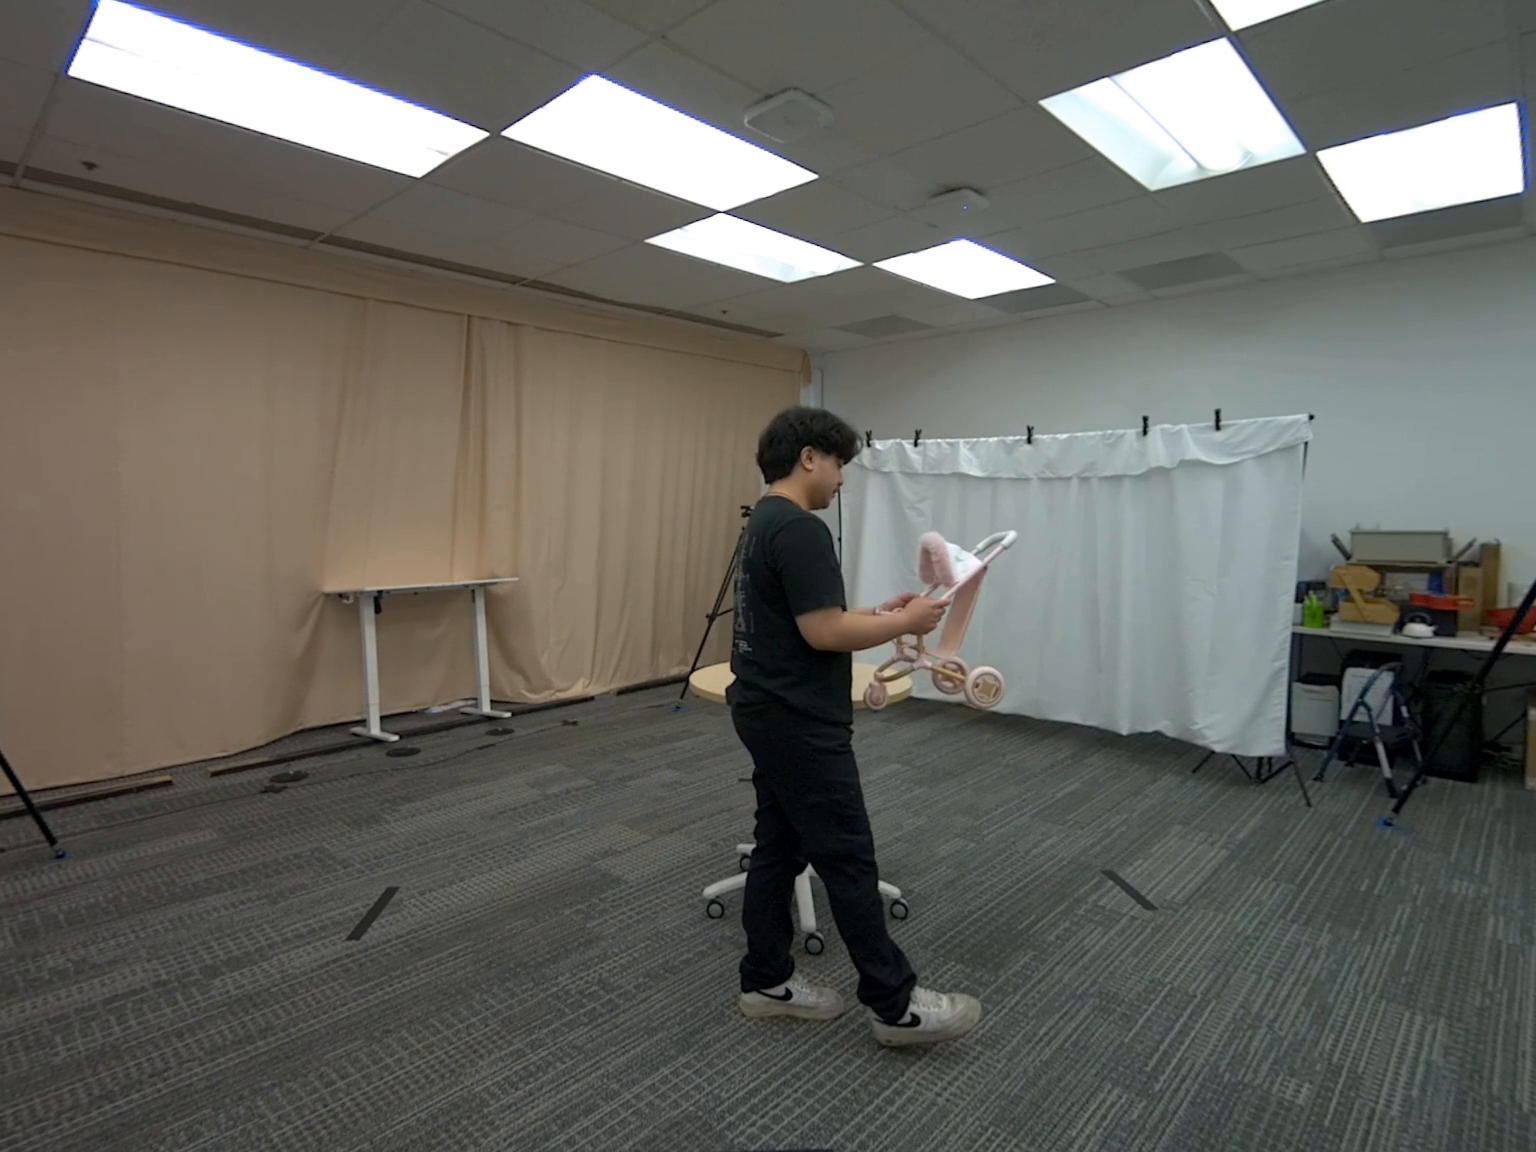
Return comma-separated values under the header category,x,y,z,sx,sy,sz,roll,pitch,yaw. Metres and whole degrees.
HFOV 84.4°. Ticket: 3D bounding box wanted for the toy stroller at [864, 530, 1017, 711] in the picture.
category,x,y,z,sx,sy,sz,roll,pitch,yaw
toy stroller,0.470,0.124,2.295,0.342,0.535,0.281,9,-2,0
